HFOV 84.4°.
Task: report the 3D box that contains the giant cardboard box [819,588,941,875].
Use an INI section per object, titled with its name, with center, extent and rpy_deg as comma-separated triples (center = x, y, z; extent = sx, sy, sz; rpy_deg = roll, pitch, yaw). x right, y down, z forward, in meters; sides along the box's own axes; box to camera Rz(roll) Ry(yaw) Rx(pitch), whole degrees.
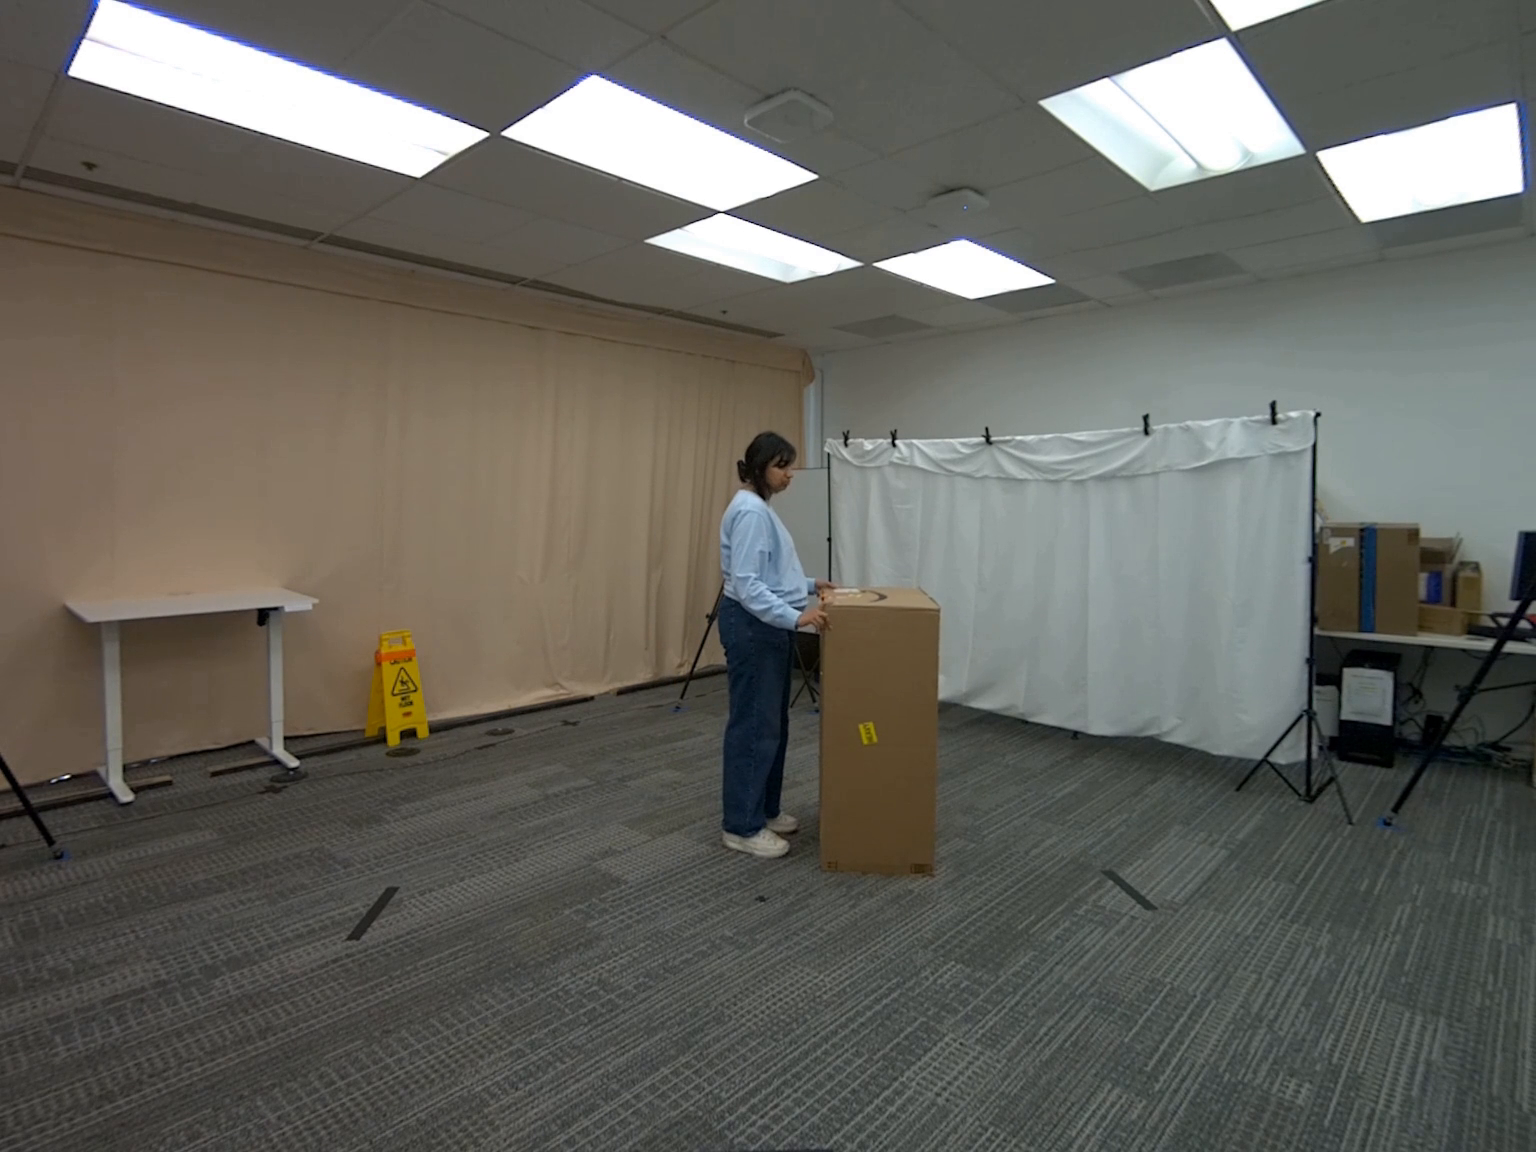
[giant cardboard box]
center = 0.435, 0.585, 3.416
extent = 0.450, 1.023, 0.582
rpy_deg = 0, 5, 5
